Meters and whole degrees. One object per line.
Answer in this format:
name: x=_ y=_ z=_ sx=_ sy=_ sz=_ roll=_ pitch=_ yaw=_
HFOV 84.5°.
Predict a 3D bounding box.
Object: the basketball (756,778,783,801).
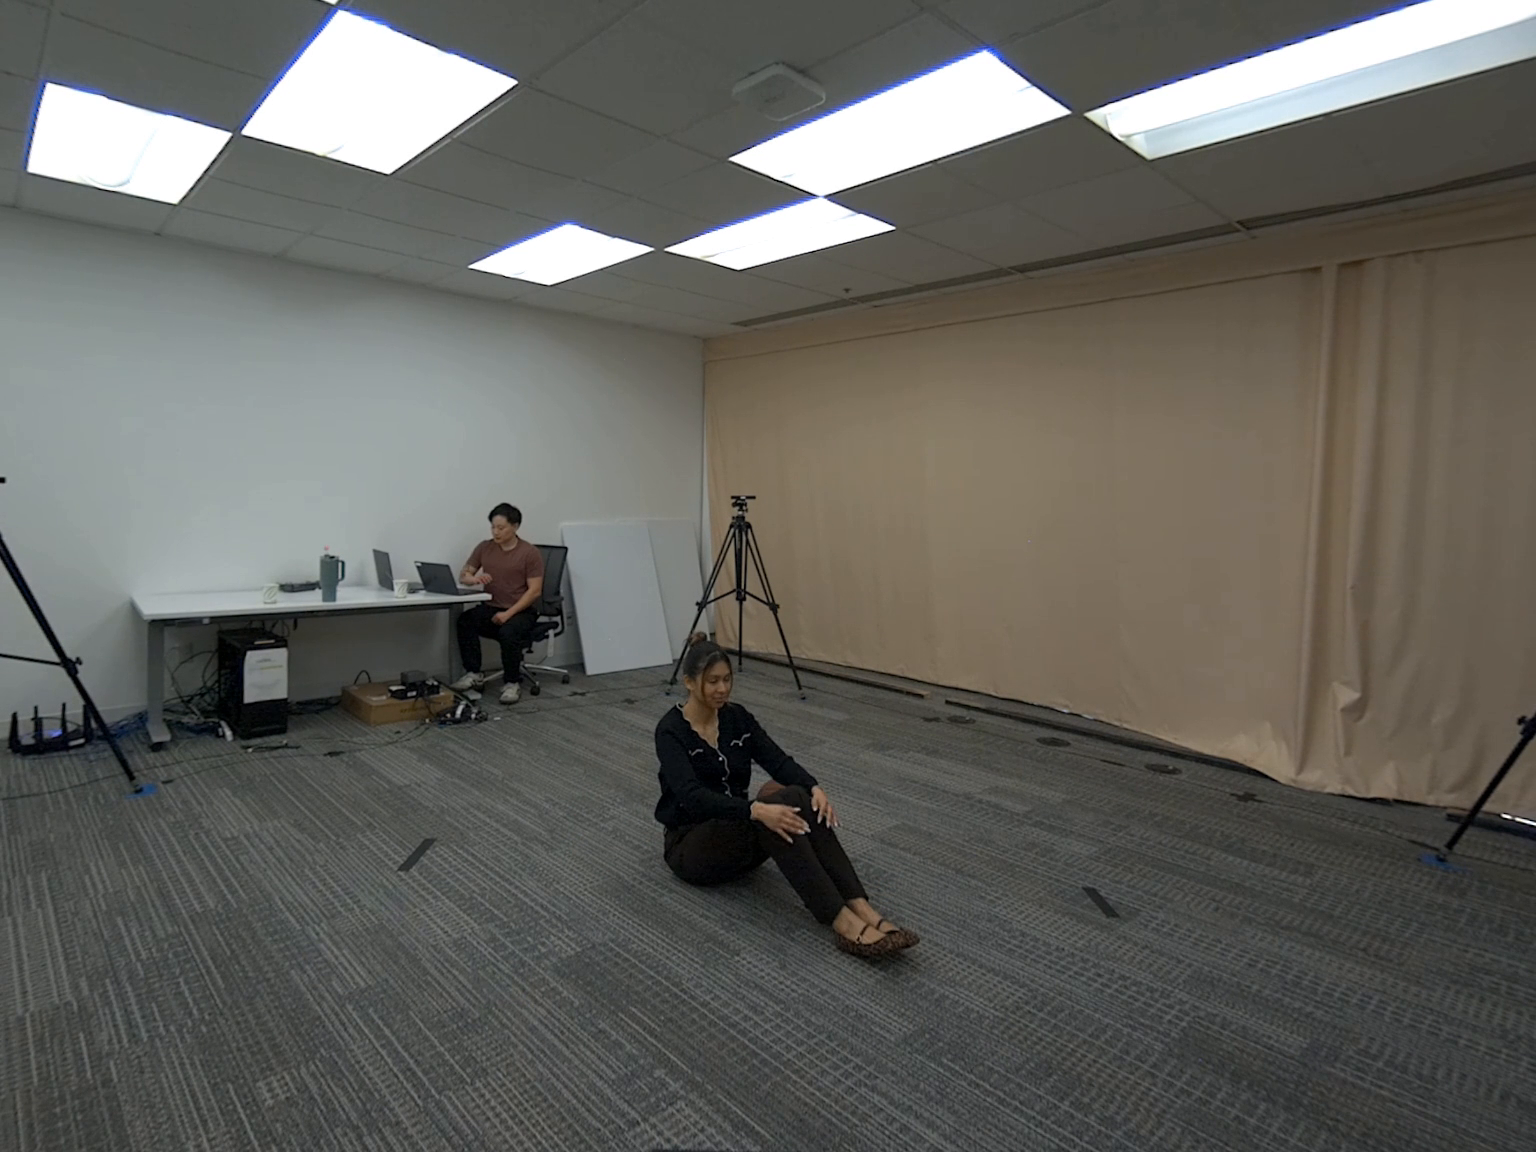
basketball: x=0.058 y=0.957 z=3.486 sx=0.236 sy=0.235 sz=0.237 roll=1 pitch=4 yaw=-1
